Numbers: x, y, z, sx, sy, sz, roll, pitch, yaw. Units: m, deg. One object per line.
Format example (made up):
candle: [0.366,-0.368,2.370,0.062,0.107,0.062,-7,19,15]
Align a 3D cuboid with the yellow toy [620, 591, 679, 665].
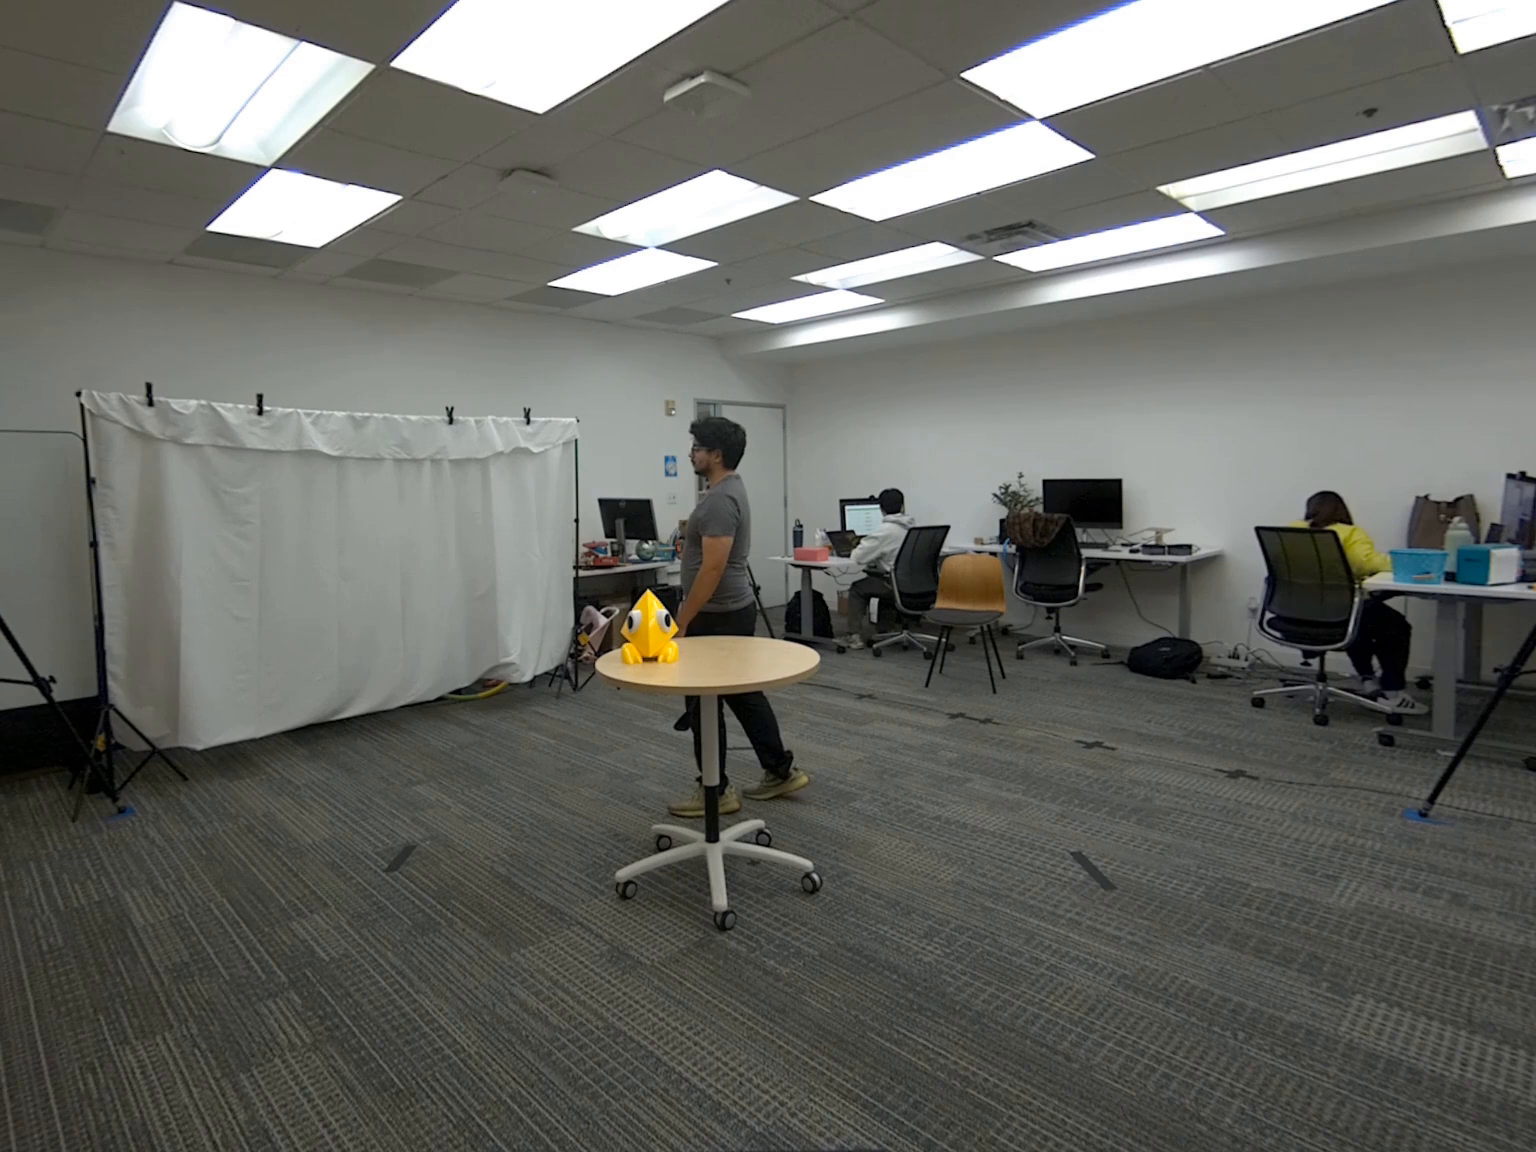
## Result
yellow toy: [-0.405,0.172,2.945,0.204,0.229,0.195,-2,6,-5]
